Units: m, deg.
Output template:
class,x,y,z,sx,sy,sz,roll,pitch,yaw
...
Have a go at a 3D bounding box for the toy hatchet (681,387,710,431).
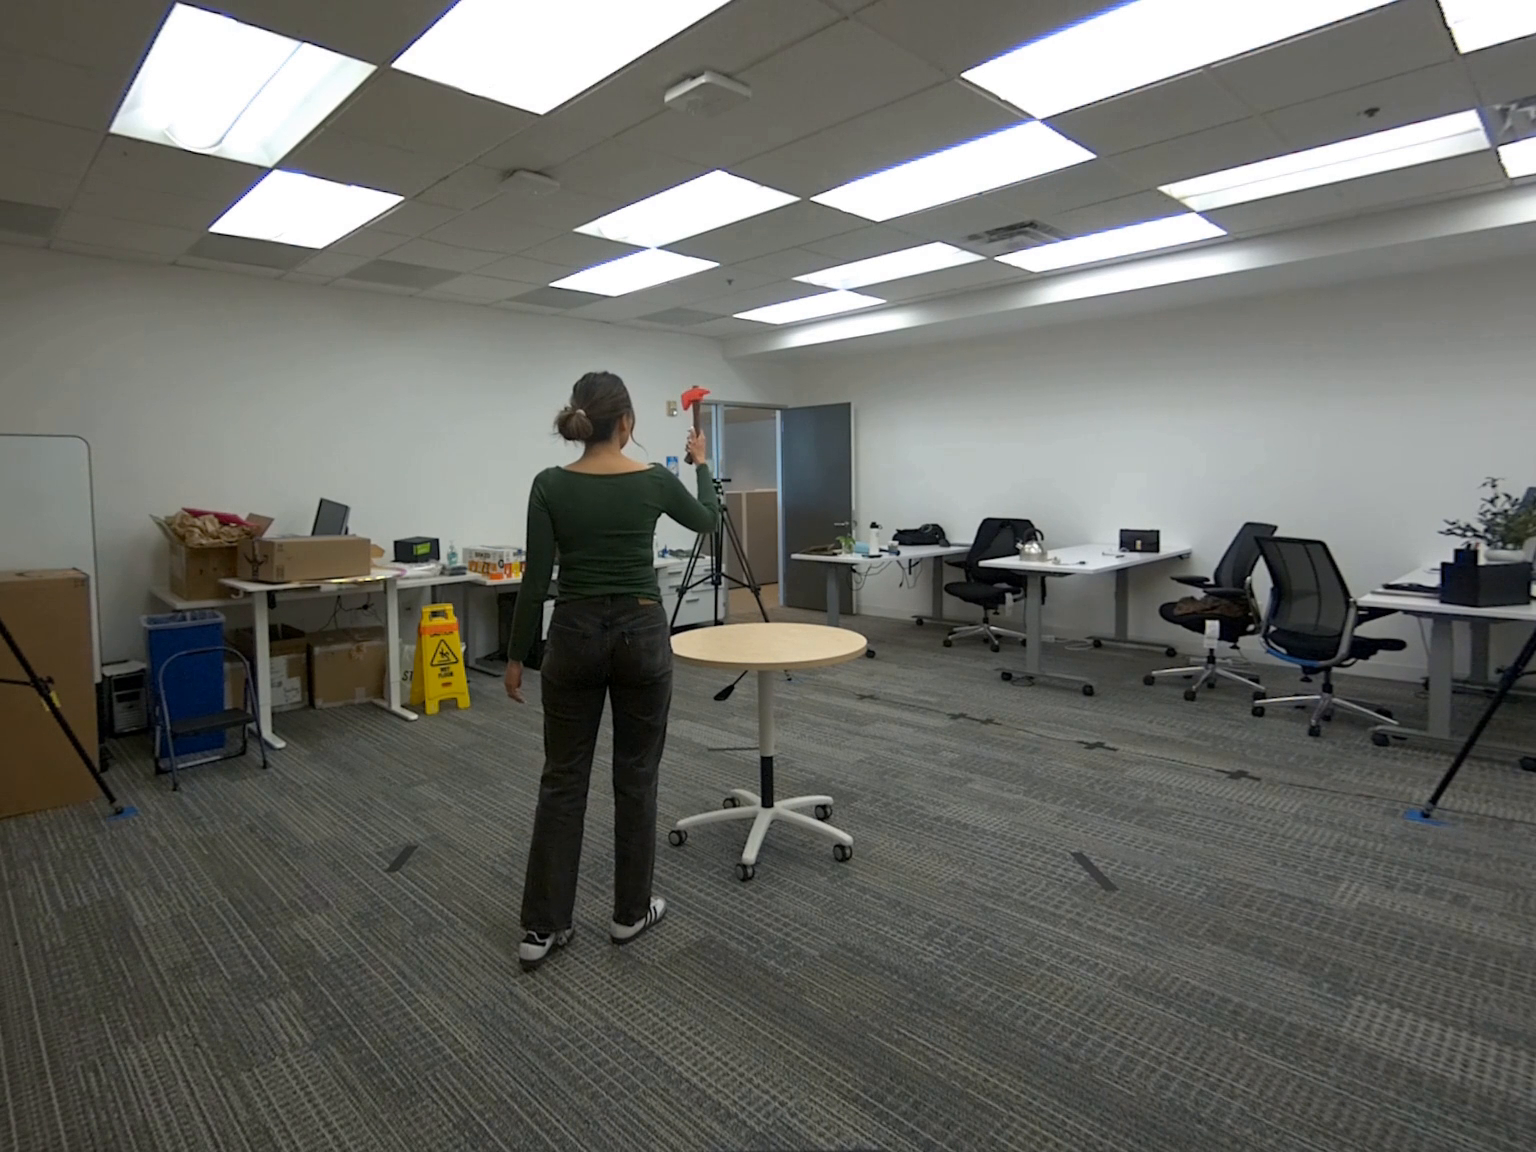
class,x,y,z,sx,sy,sz,roll,pitch,yaw
toy hatchet,-0.278,-0.536,2.998,0.135,0.269,0.029,19,7,34
